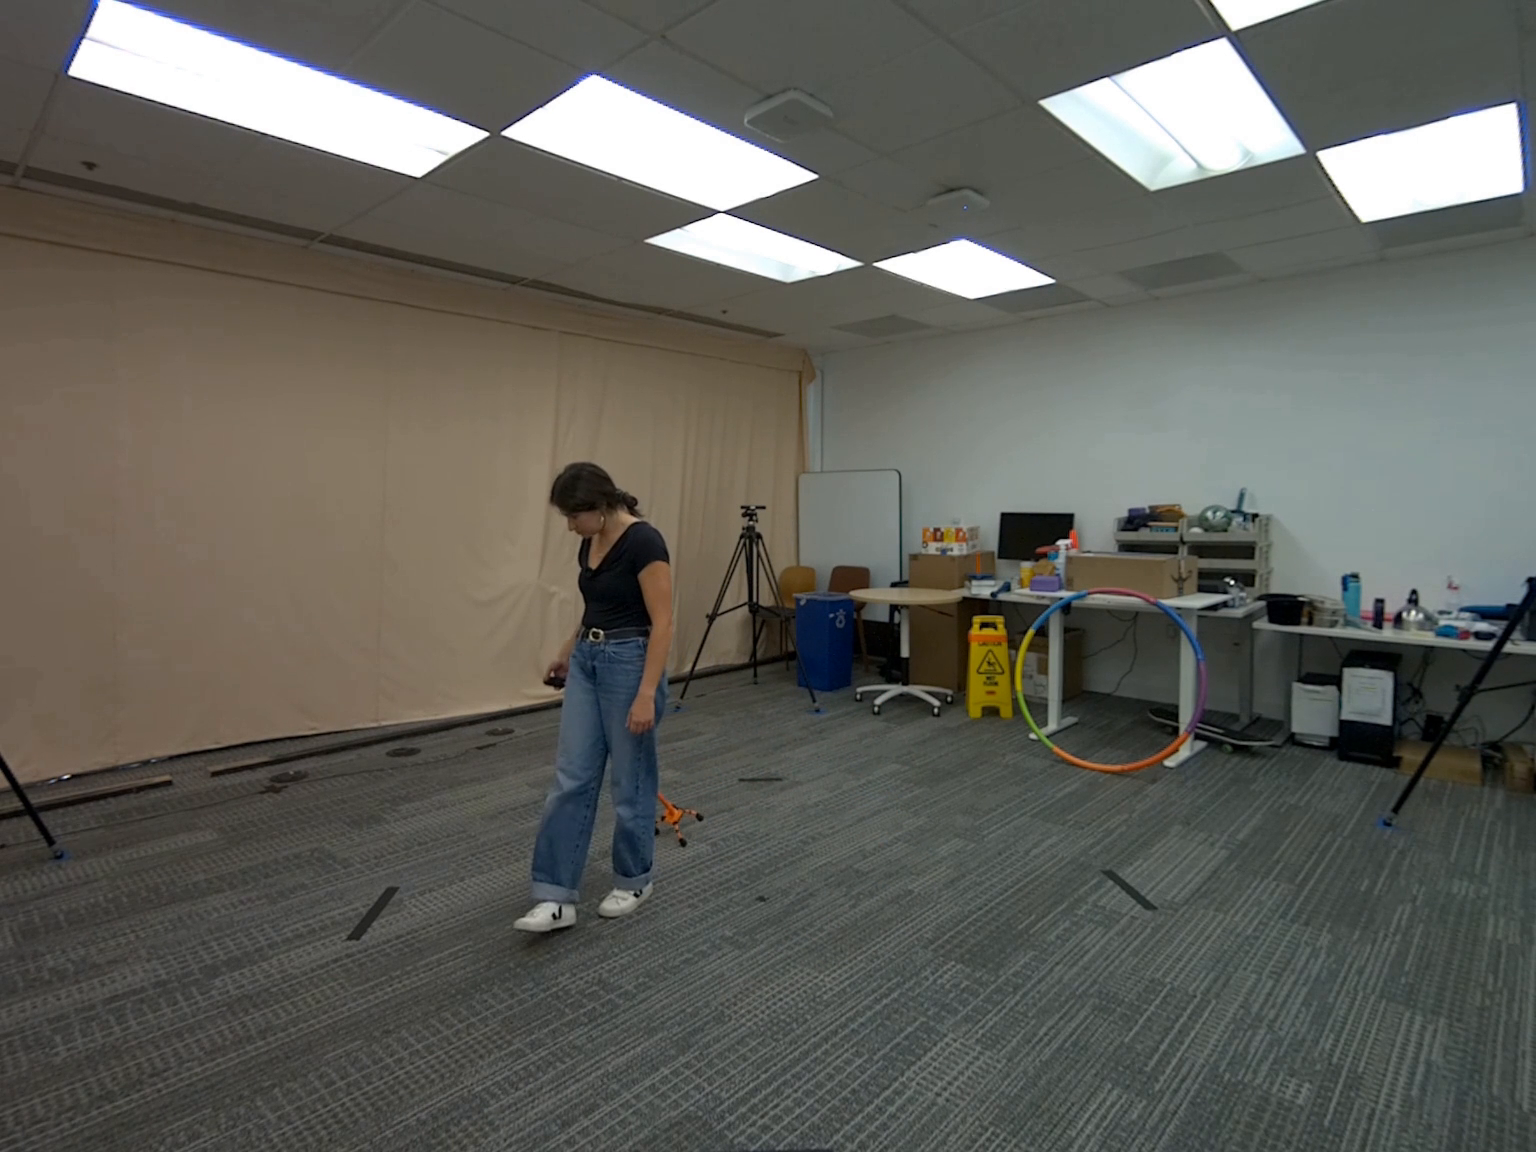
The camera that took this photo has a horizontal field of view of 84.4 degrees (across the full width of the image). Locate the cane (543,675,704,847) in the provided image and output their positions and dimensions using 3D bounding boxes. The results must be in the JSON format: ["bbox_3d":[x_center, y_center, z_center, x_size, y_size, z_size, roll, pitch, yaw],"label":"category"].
[{"bbox_3d":[-0.577,0.728,3.334,0.213,0.883,0.151,0,42,44],"label":"cane"}]
